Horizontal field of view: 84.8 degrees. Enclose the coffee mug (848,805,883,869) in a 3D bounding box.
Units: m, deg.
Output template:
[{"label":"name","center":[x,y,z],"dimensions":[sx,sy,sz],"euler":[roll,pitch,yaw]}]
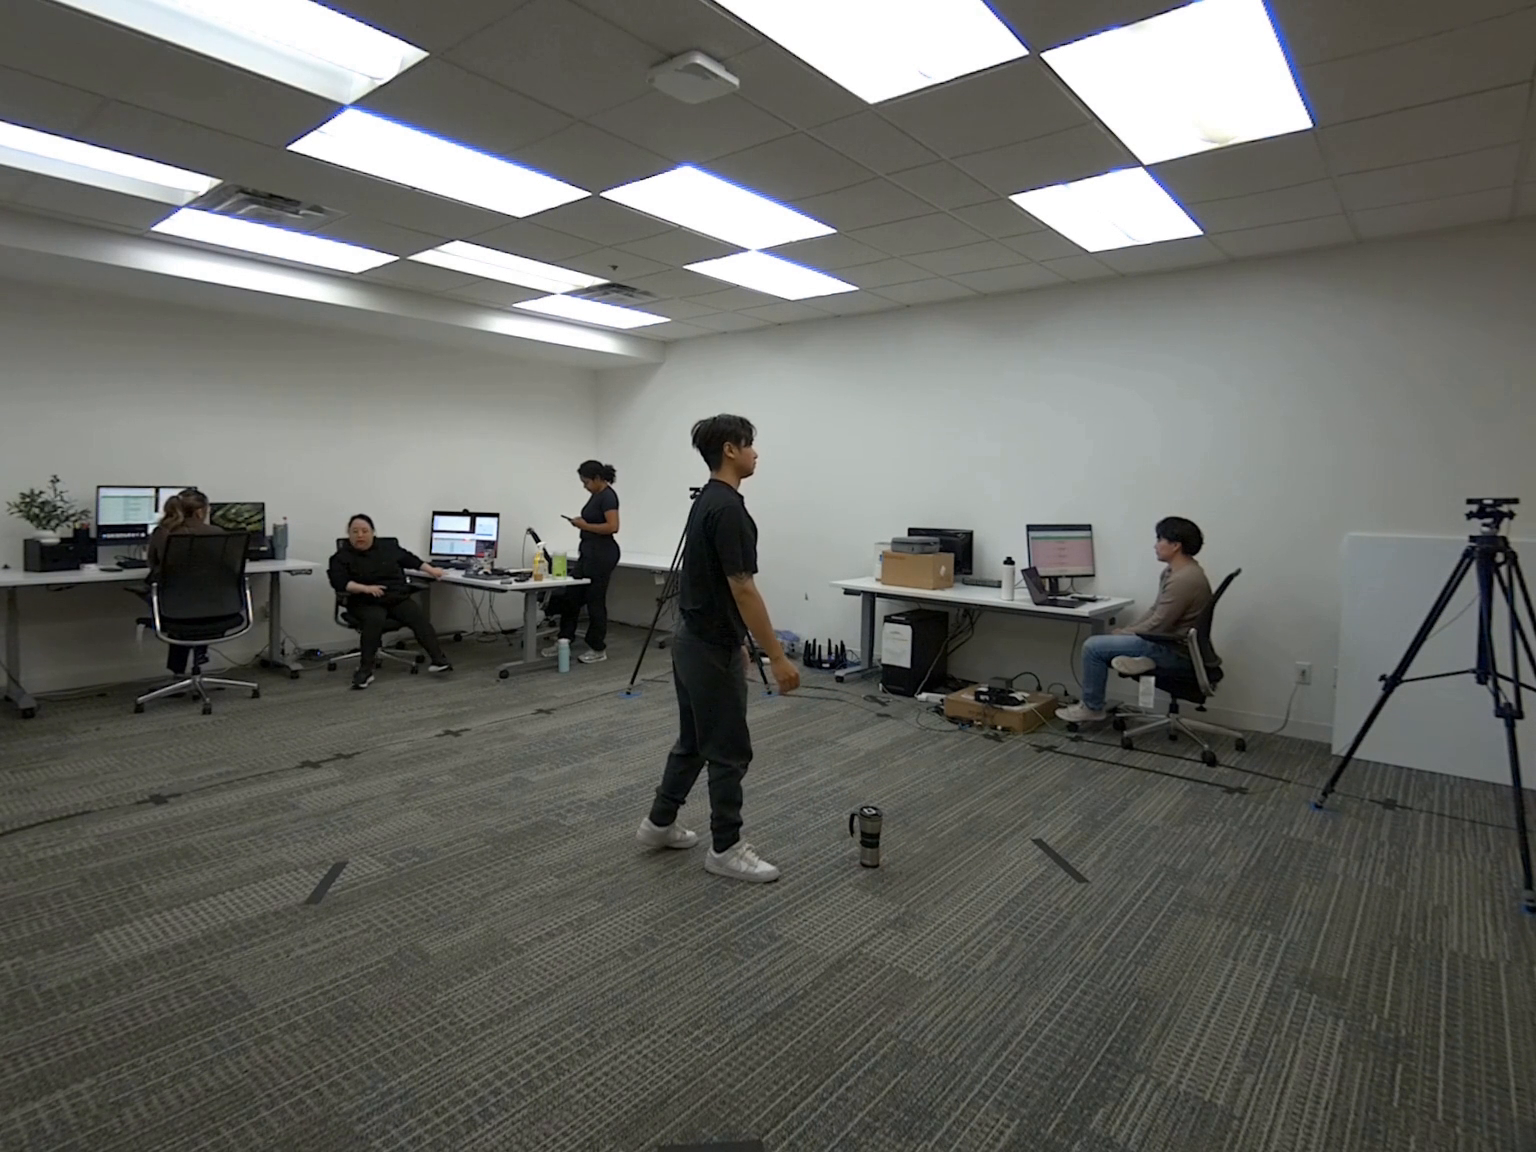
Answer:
[{"label":"coffee mug","center":[0.360,0.977,3.187],"dimensions":[0.126,0.201,0.085],"euler":[7,10,36]}]
